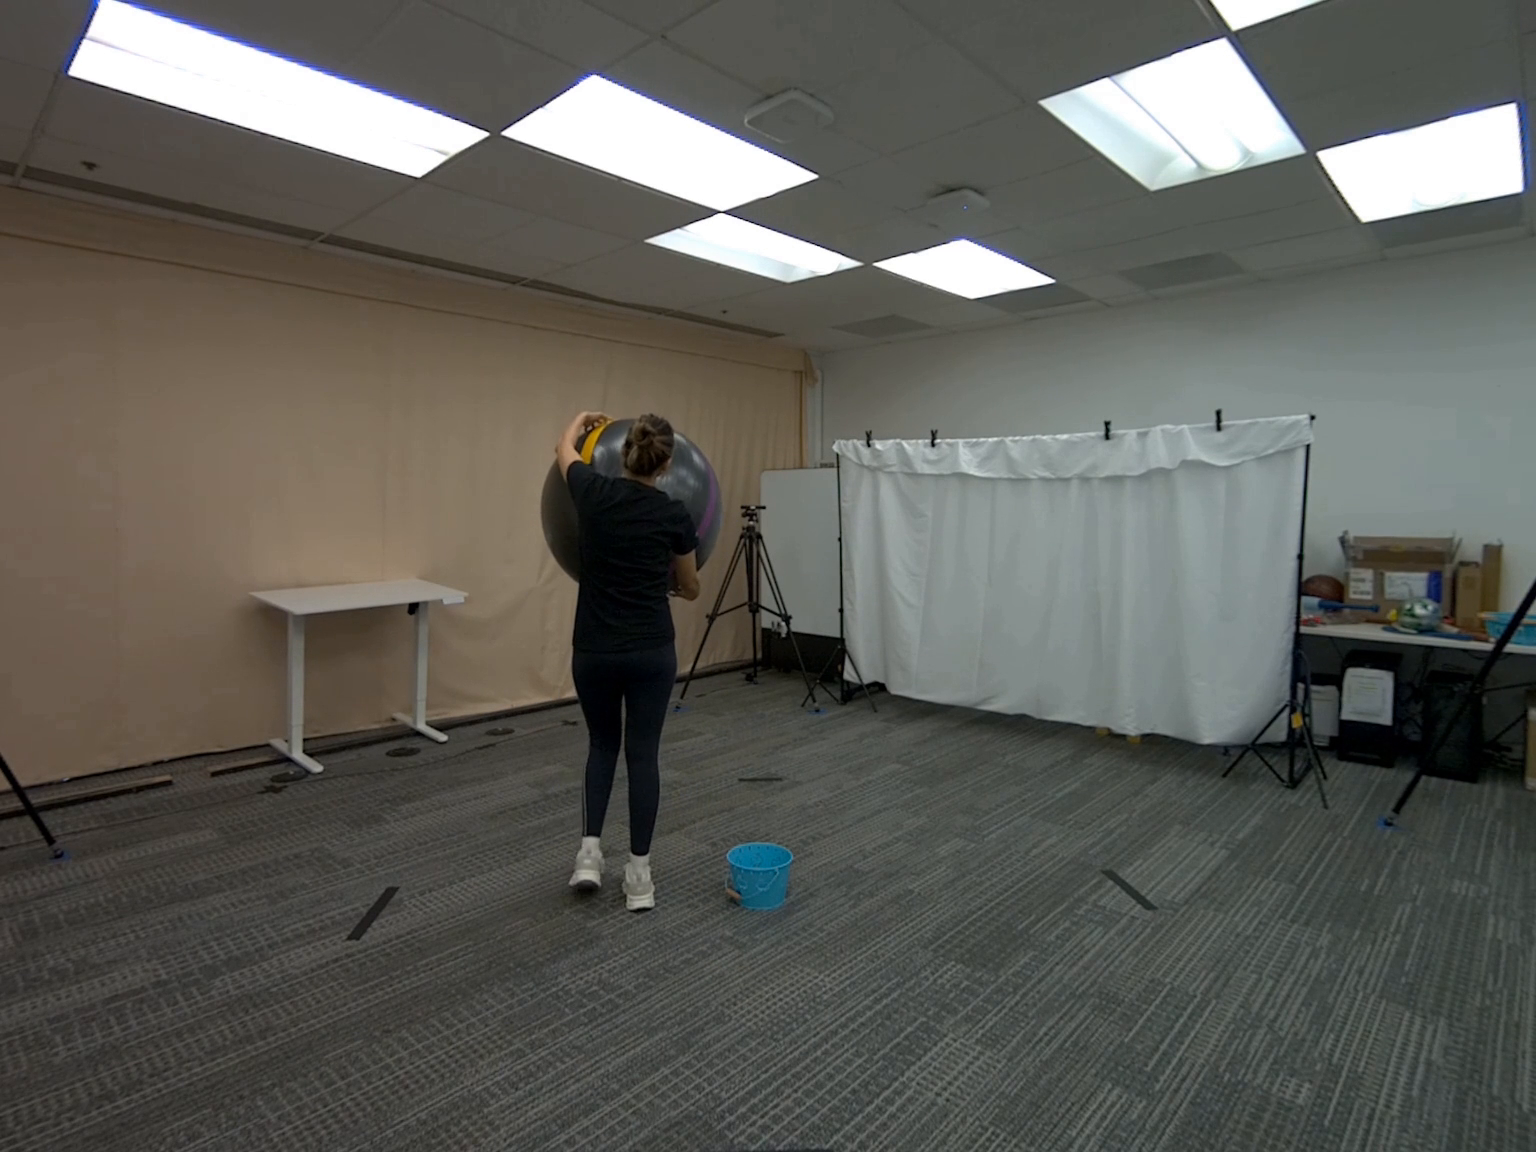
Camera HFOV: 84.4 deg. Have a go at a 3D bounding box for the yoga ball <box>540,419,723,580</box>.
[{"bbox_3d":[-0.575,-0.270,3.526,0.757,0.756,0.761,0,4,-2],"label":"yoga ball"}]
